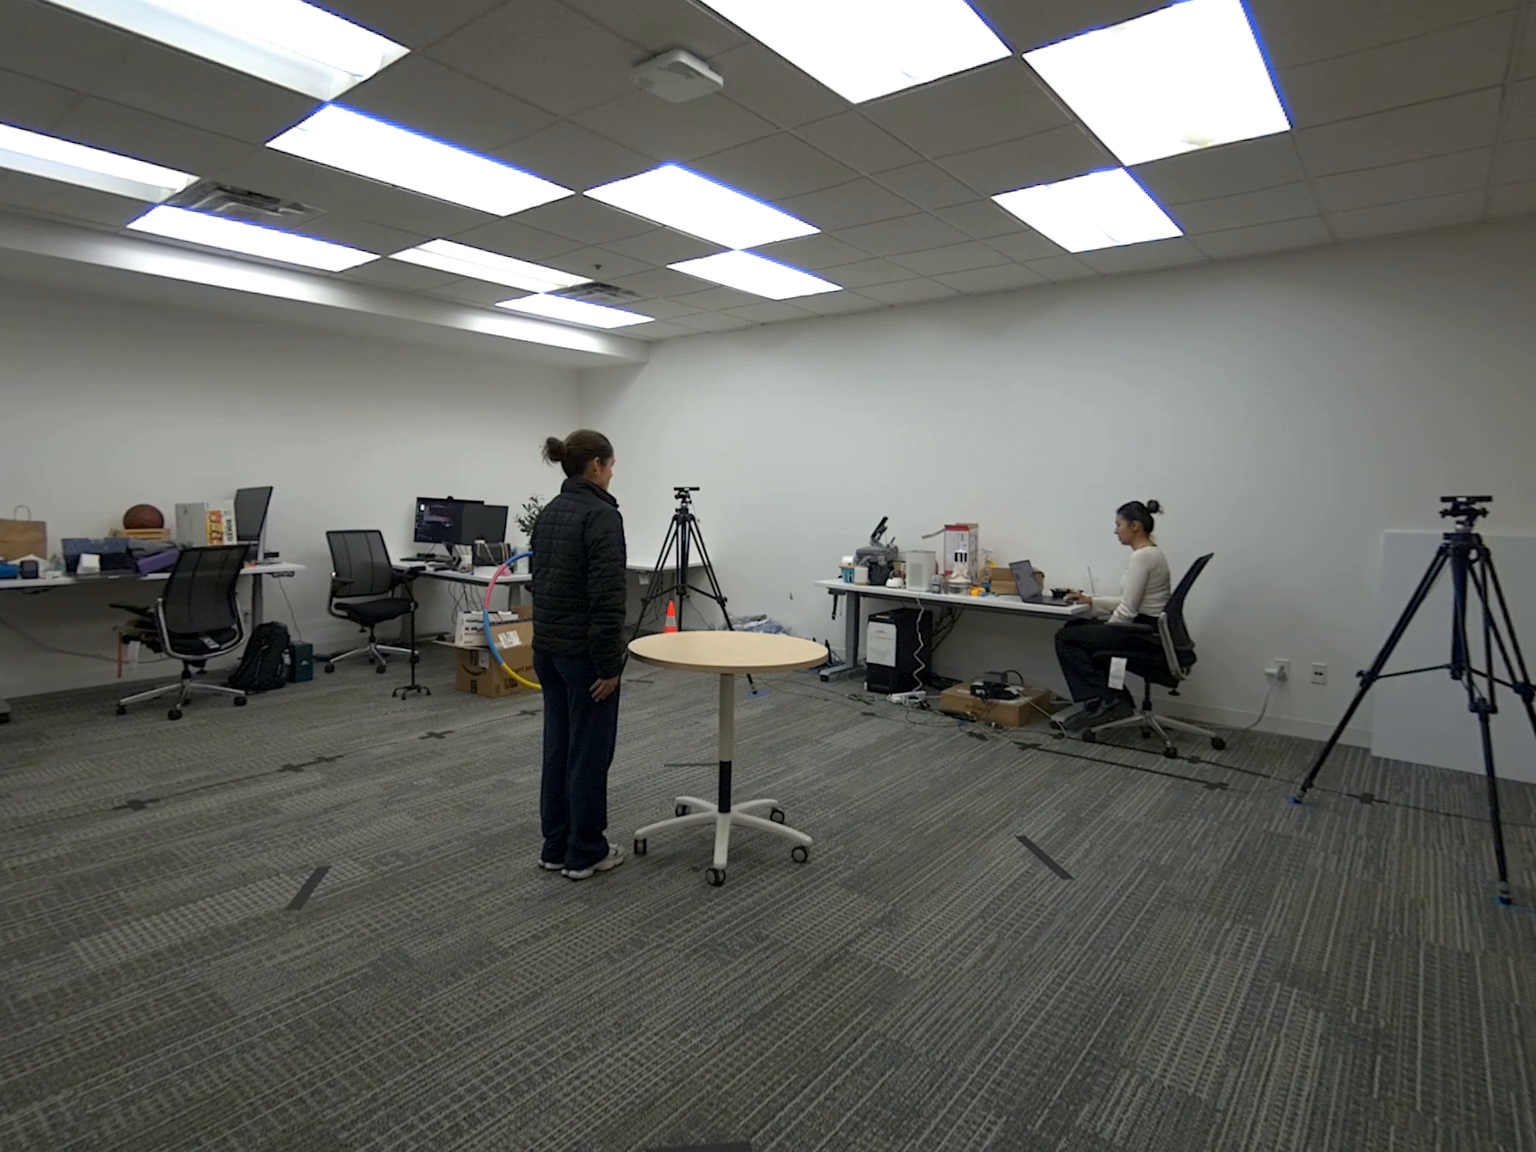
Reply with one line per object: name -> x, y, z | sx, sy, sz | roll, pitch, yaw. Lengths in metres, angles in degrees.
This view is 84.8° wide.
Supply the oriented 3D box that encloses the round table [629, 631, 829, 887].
round table -> -0.138, 0.659, 3.285 | 0.784, 0.784, 0.789 | 1, 4, -2
